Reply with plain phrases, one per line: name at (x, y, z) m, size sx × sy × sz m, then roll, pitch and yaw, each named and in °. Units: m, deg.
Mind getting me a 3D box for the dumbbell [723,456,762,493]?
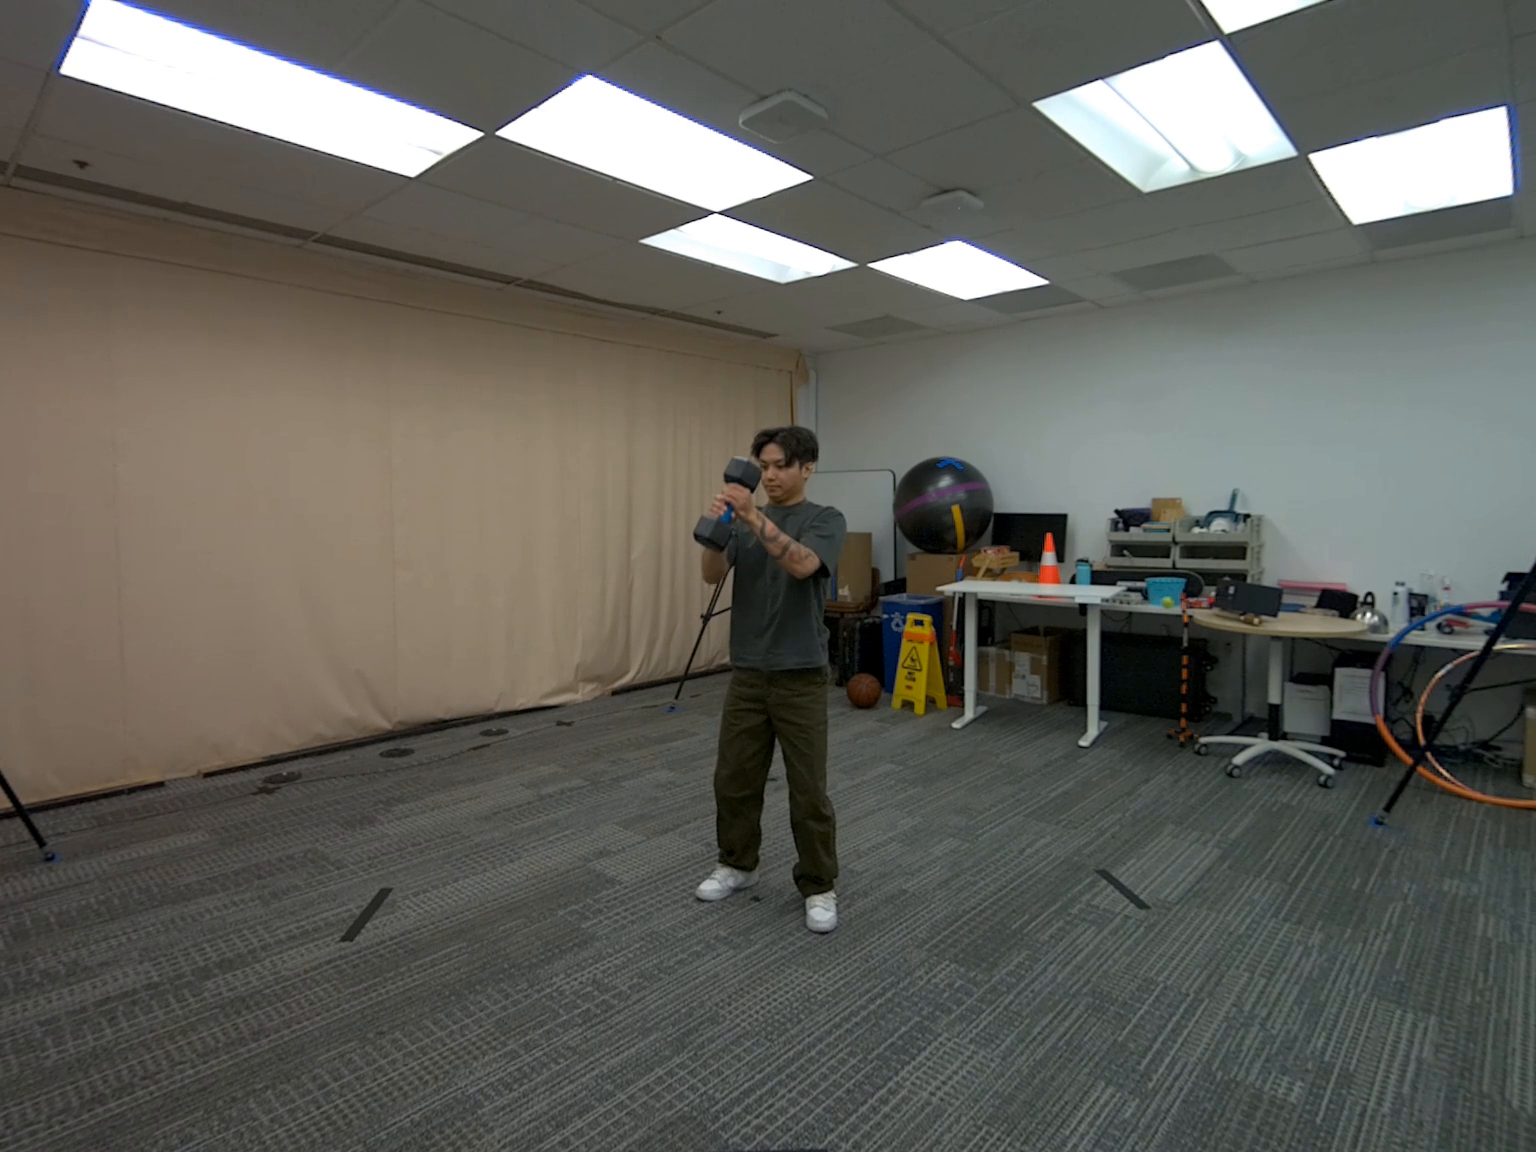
dumbbell at (-0.123, -0.218, 2.628) m, size 0.109 × 0.294 × 0.122 m, roll 26°, pitch -12°, yaw 2°
